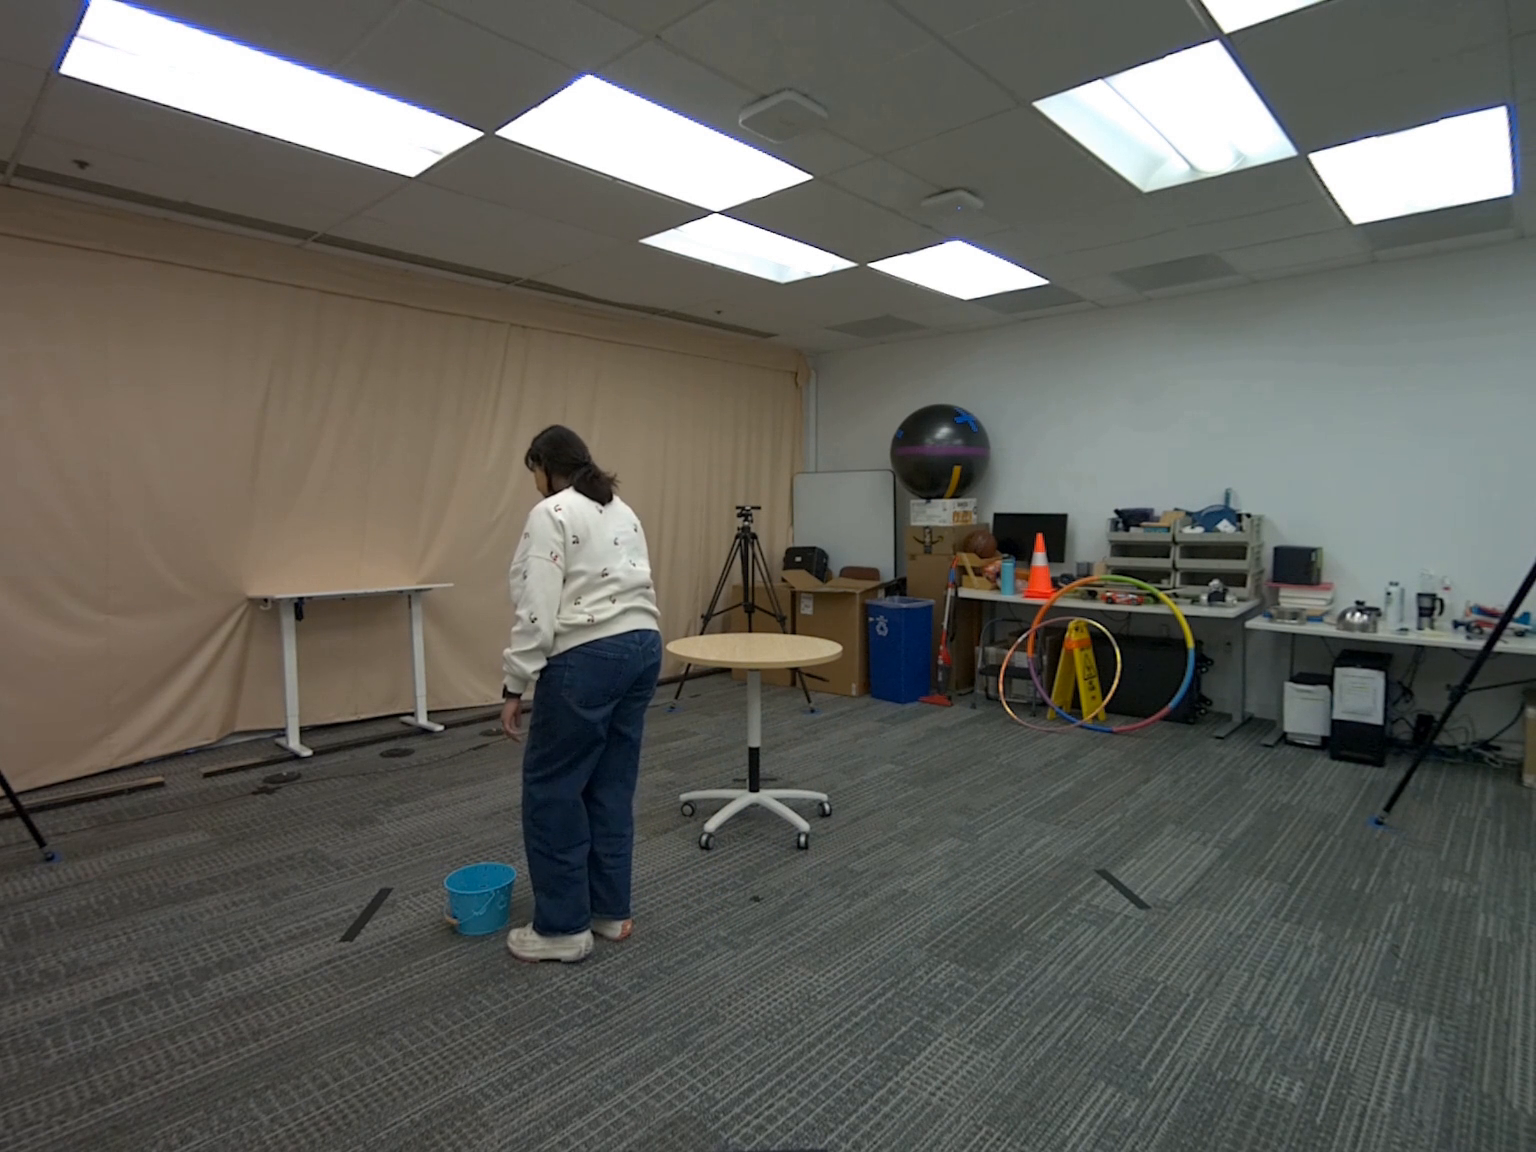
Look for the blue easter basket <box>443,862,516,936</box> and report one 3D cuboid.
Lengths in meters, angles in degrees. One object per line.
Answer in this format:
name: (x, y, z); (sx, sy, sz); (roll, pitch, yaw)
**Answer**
blue easter basket: (-0.974, 1.093, 2.832); (0.243, 0.155, 0.244); (-1, 4, -2)
